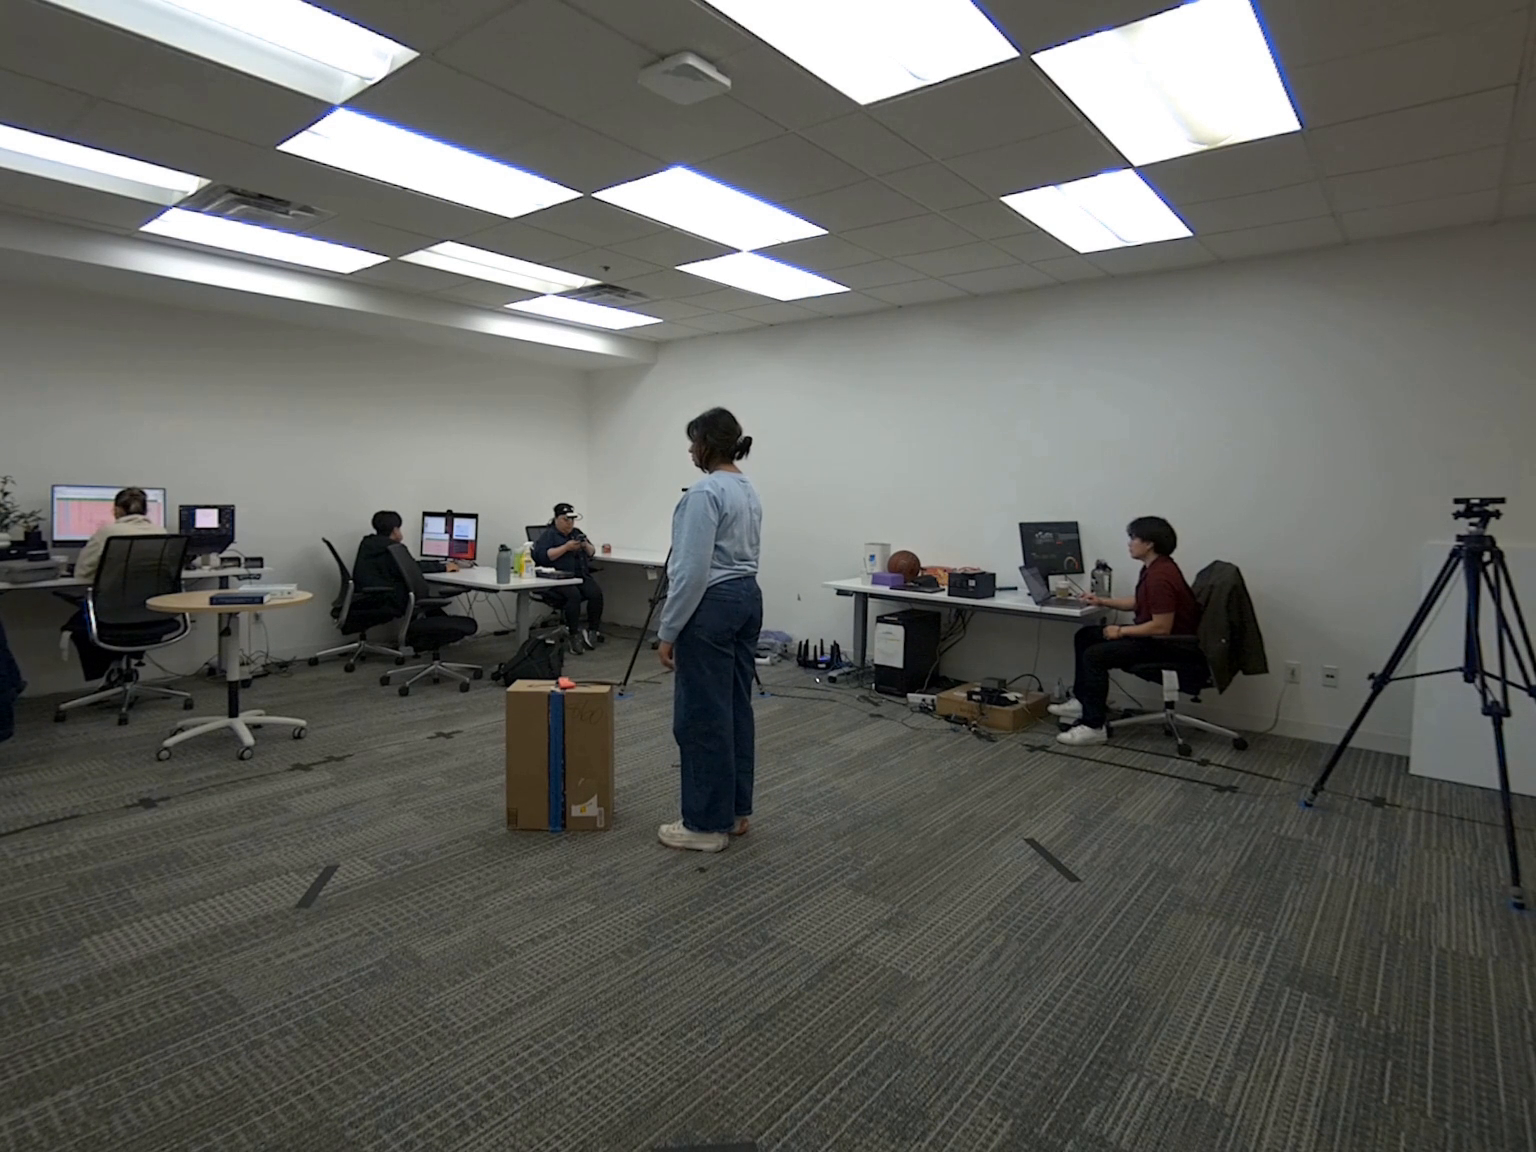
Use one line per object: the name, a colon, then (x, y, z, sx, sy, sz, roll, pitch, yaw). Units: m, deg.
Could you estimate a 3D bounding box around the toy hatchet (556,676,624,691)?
toy hatchet: (-0.763, 0.446, 3.525, 0.273, 0.029, 0.130, 2, 5, 8)
